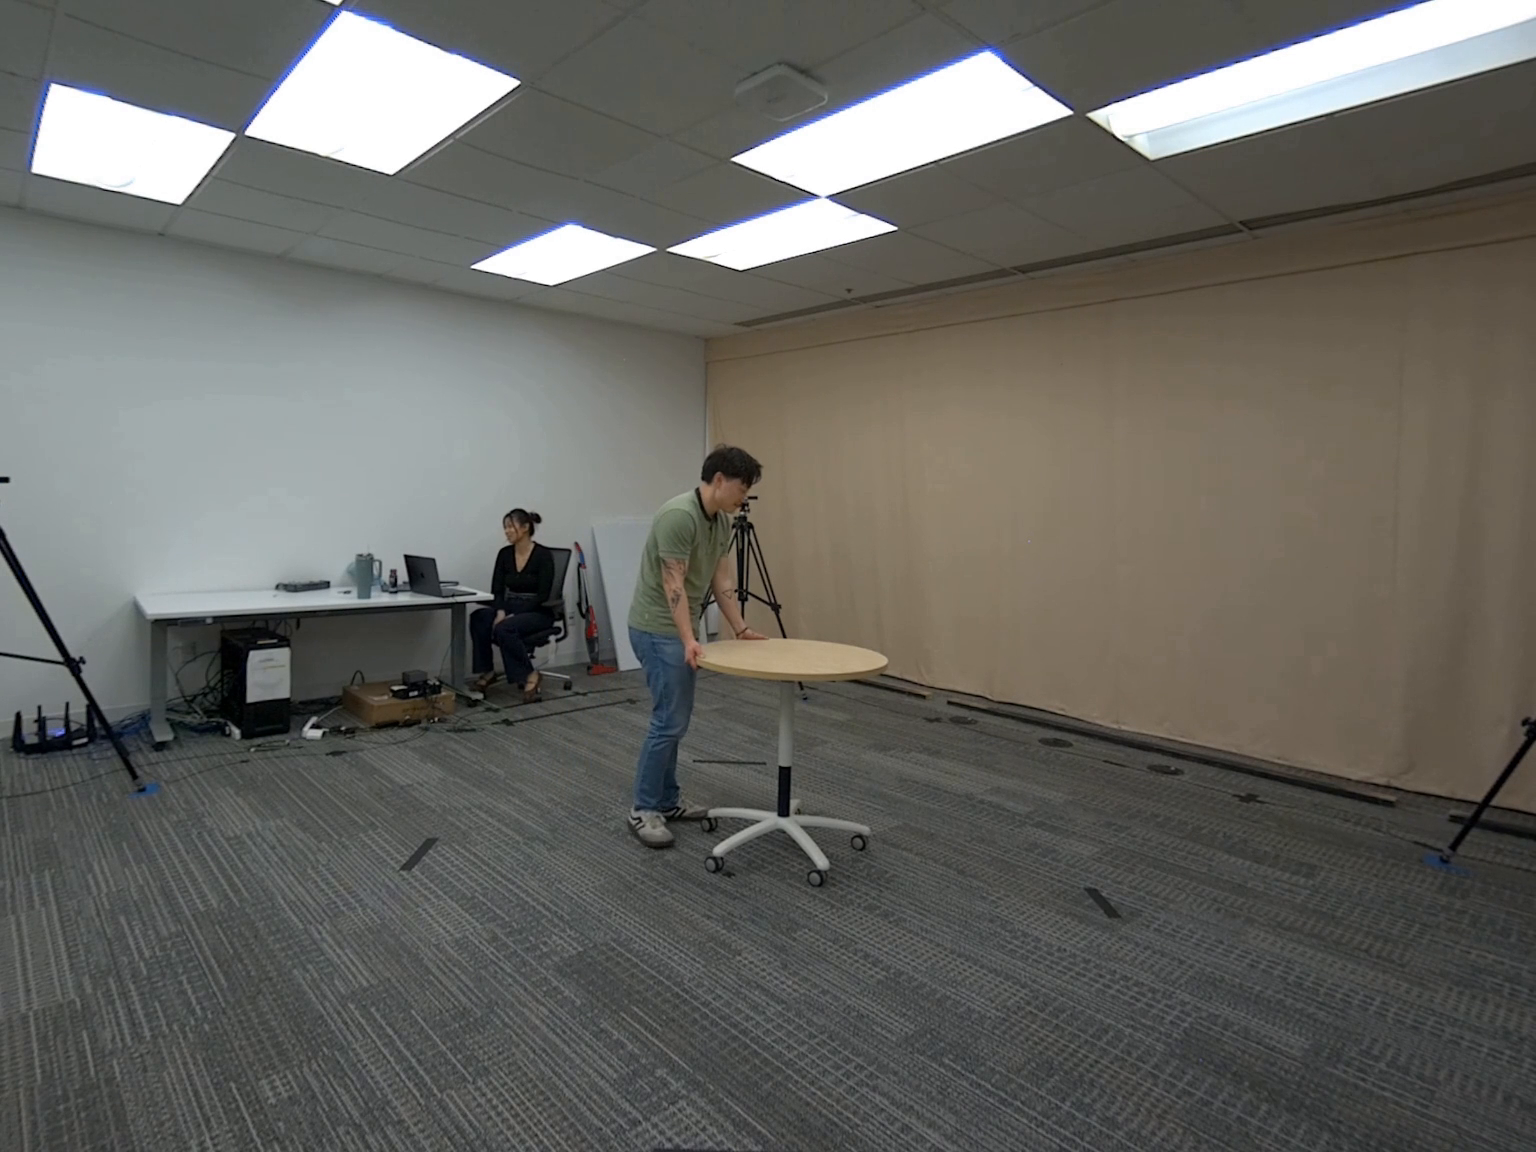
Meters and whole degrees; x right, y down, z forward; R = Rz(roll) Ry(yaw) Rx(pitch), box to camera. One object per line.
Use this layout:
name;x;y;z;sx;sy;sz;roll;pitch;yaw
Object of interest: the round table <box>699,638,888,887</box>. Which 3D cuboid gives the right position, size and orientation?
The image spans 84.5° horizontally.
round table;0.056;0.702;3.312;0.763;0.792;0.766;2;3;-1
